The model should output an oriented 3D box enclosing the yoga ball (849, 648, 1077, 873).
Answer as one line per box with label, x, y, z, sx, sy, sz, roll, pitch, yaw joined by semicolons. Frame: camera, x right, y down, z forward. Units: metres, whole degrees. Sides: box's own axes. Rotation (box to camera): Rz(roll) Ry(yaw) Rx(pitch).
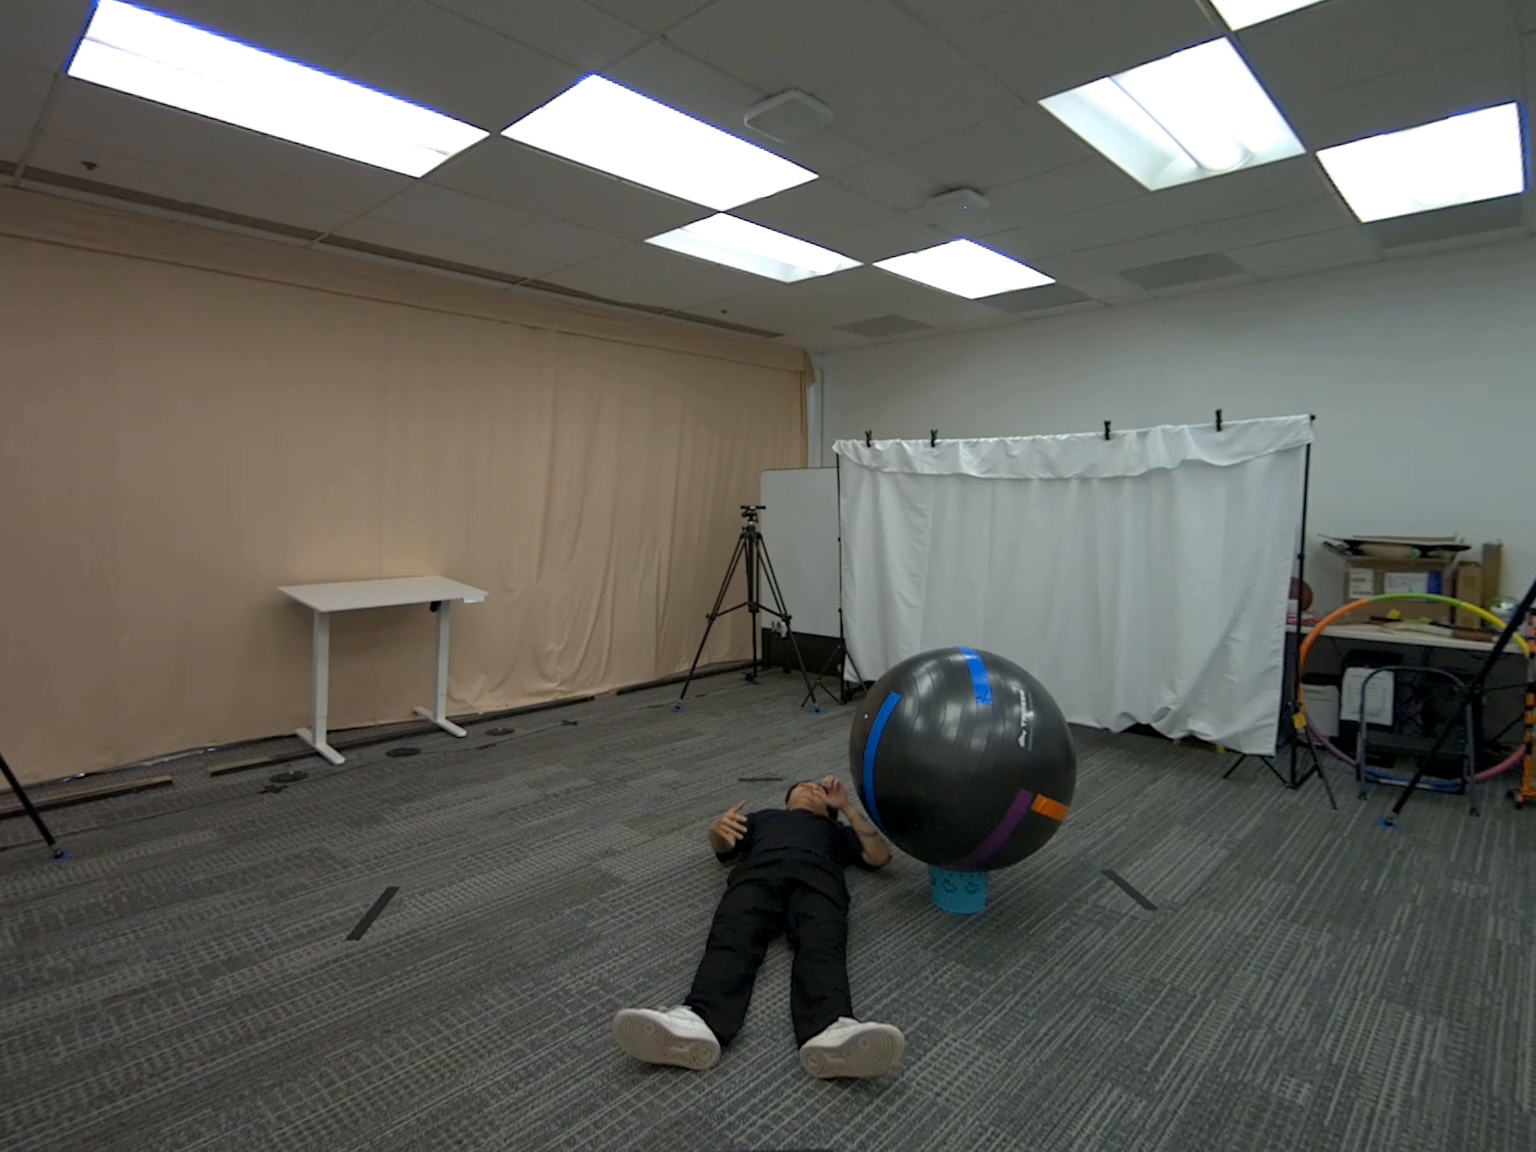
yoga ball;0.672;0.635;2.941;0.757;0.756;0.760;0;4;-2
